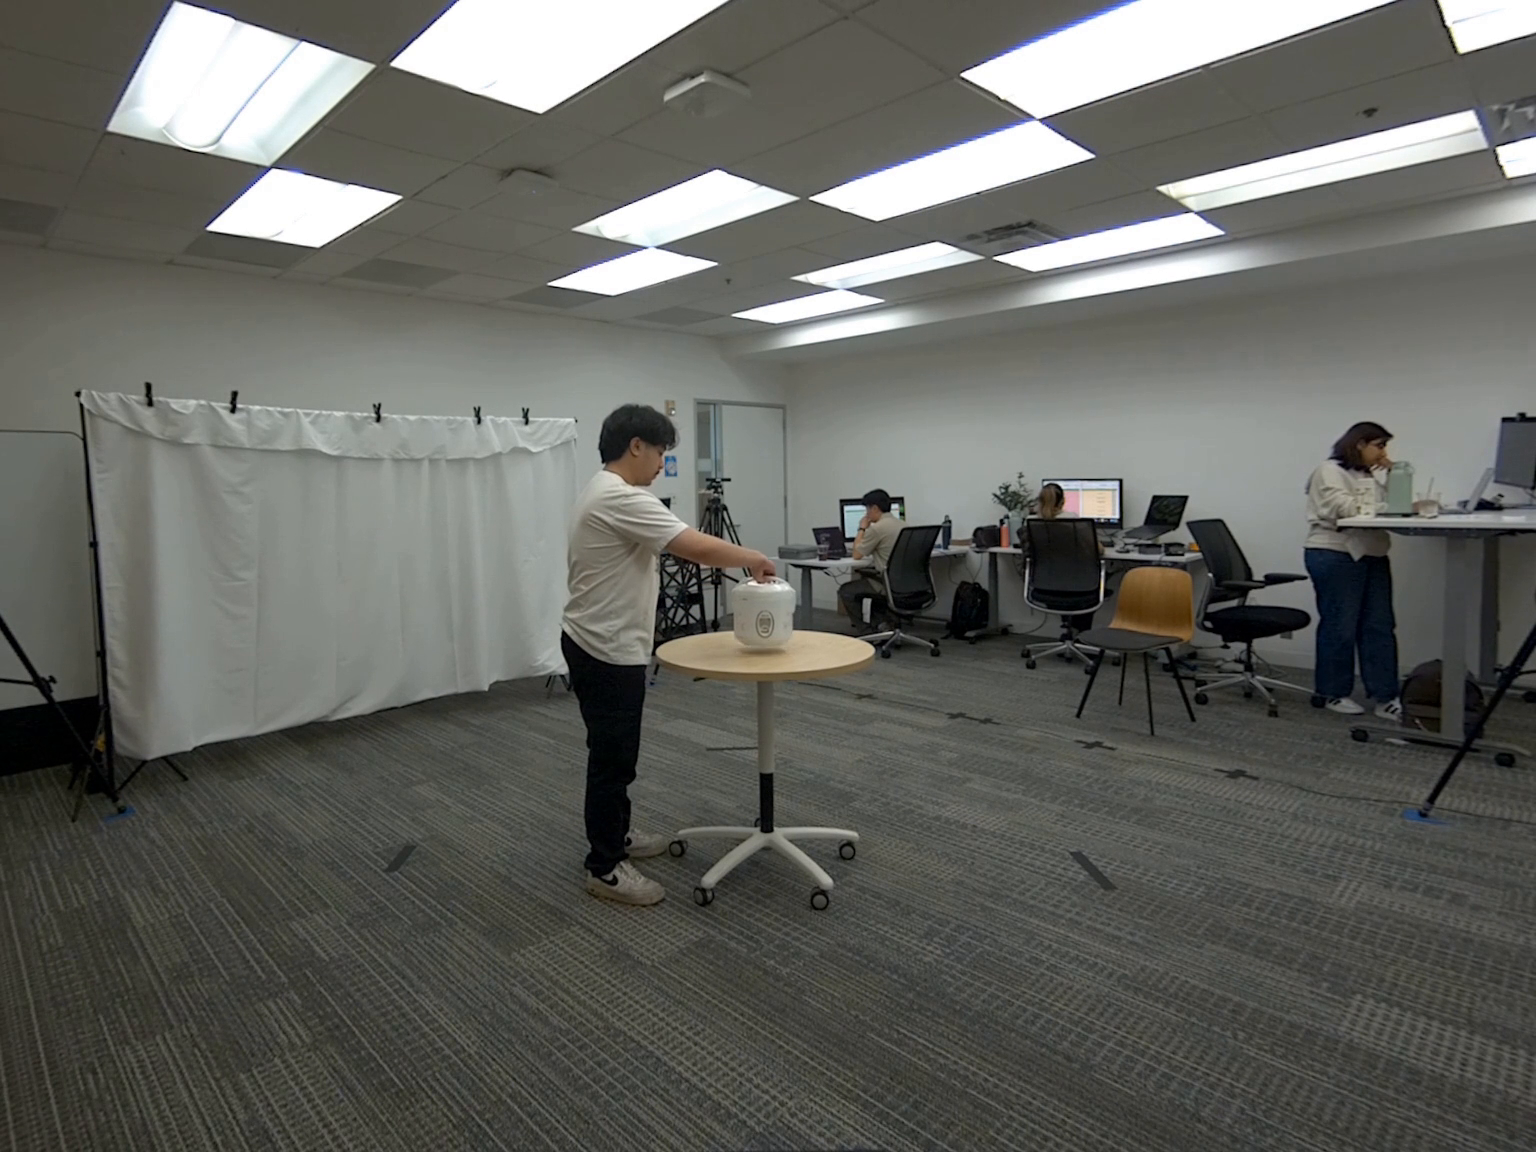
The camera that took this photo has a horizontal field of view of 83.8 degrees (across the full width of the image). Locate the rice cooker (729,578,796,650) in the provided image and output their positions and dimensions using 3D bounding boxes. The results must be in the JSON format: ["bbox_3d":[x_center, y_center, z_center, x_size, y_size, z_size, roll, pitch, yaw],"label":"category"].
[{"bbox_3d":[-0.013,0.112,2.954,0.220,0.232,0.218,-1,4,-2],"label":"rice cooker"}]
